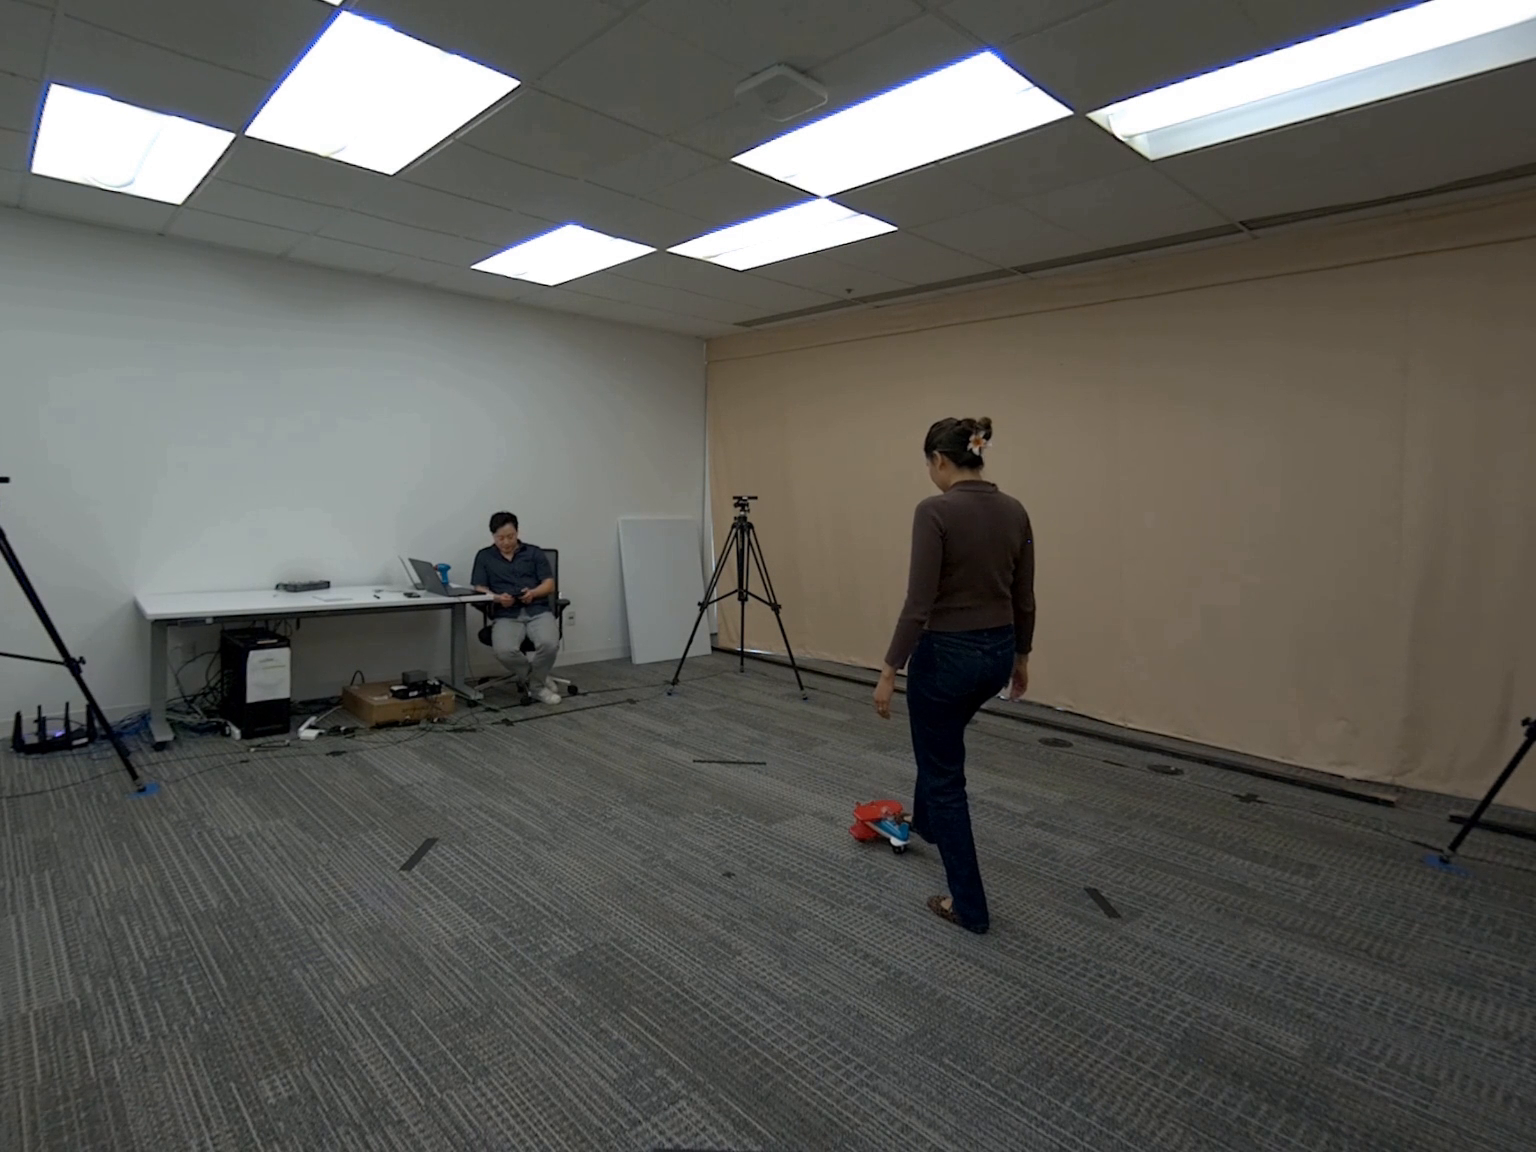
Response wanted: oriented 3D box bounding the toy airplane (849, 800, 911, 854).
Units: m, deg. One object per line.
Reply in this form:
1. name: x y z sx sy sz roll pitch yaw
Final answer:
1. toy airplane: 0.467 1.015 3.419 0.264 0.156 0.247 3 4 23
